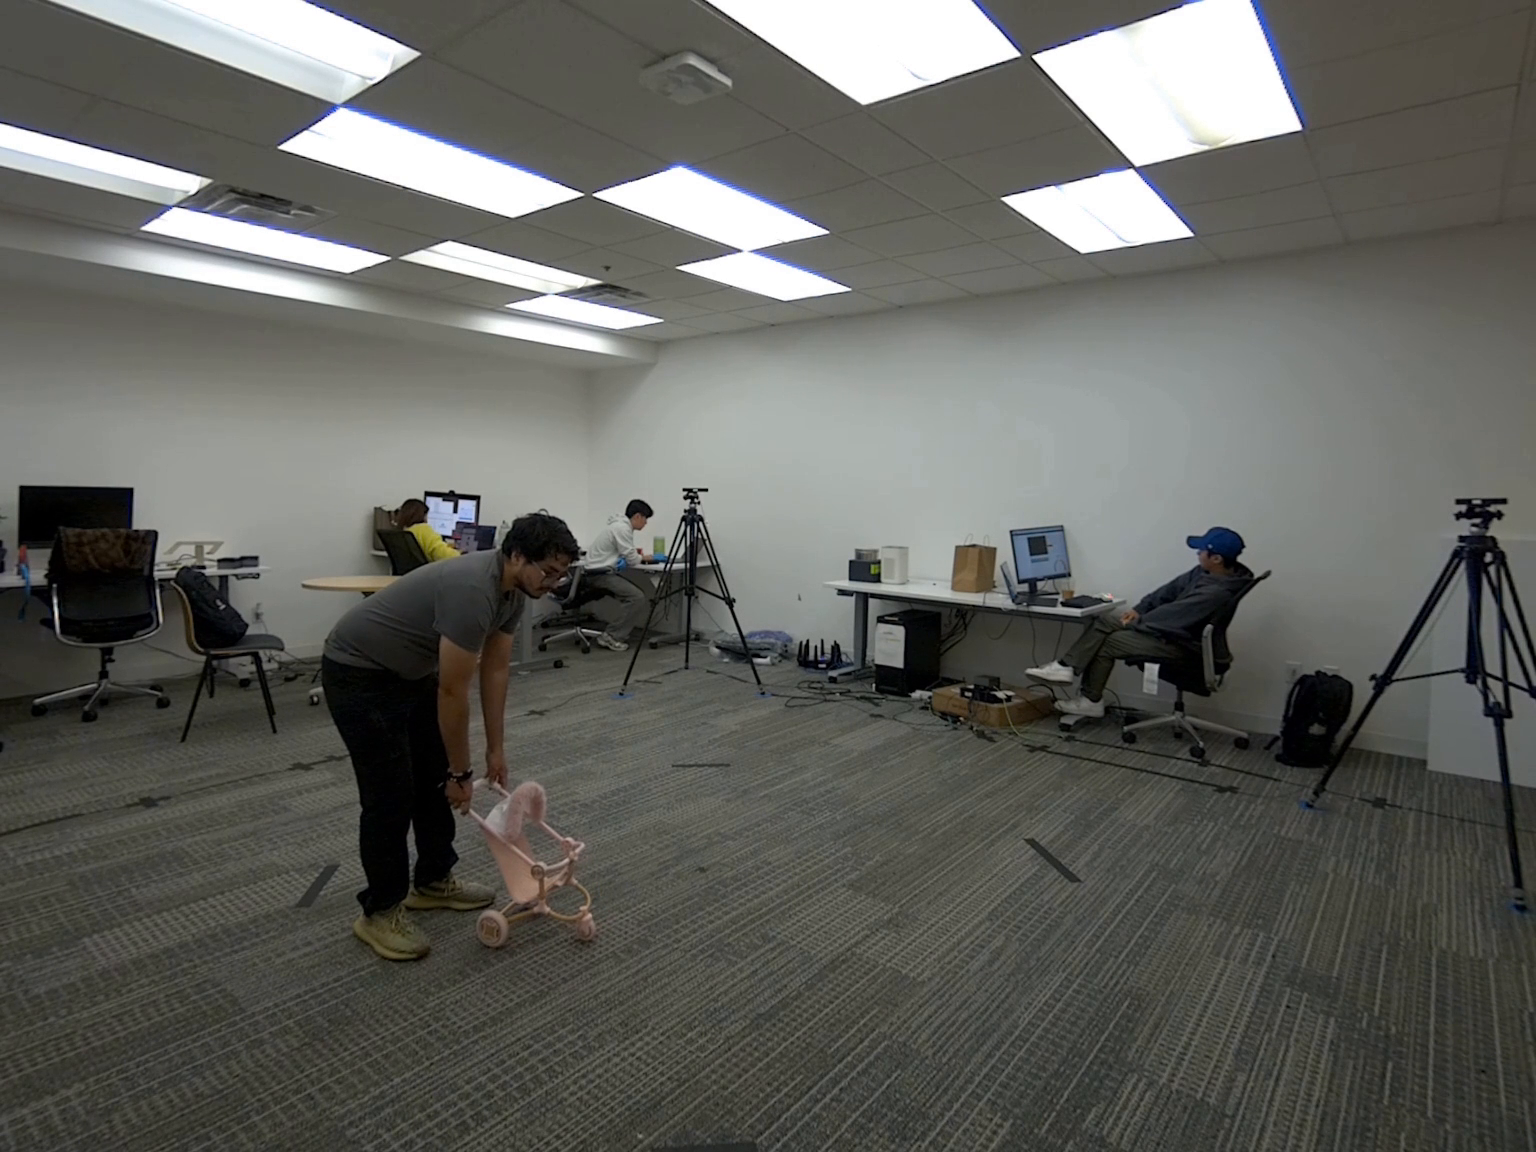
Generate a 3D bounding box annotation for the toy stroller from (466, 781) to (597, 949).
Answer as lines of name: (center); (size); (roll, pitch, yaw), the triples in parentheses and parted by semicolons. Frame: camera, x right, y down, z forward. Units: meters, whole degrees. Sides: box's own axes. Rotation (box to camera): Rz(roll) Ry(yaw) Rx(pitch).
toy stroller: (-0.748, 0.885, 2.643); (0.346, 0.536, 0.277); (-15, -2, 19)
